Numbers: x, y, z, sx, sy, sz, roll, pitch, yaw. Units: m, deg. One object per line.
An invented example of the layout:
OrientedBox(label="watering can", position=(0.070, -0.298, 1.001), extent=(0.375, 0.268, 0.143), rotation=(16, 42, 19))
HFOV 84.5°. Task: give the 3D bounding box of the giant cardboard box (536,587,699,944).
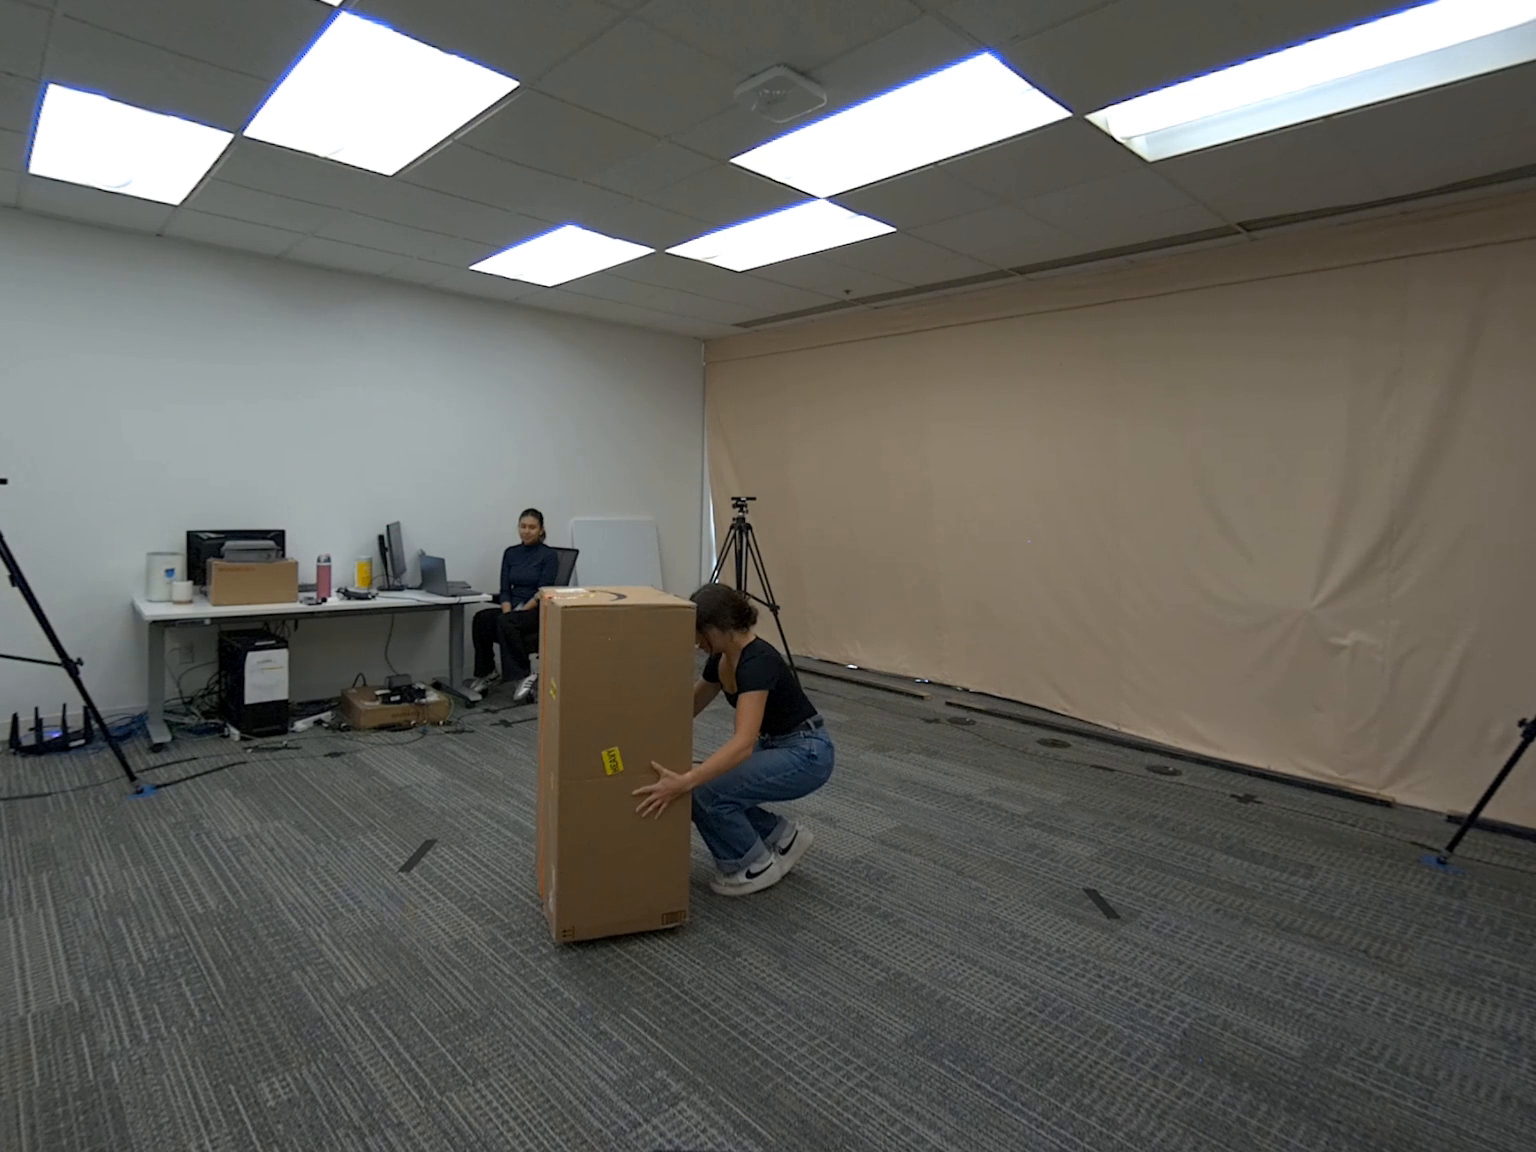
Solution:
OrientedBox(label="giant cardboard box", position=(-0.544, 0.576, 2.832), extent=(0.420, 1.024, 0.587), rotation=(1, 3, -21))
